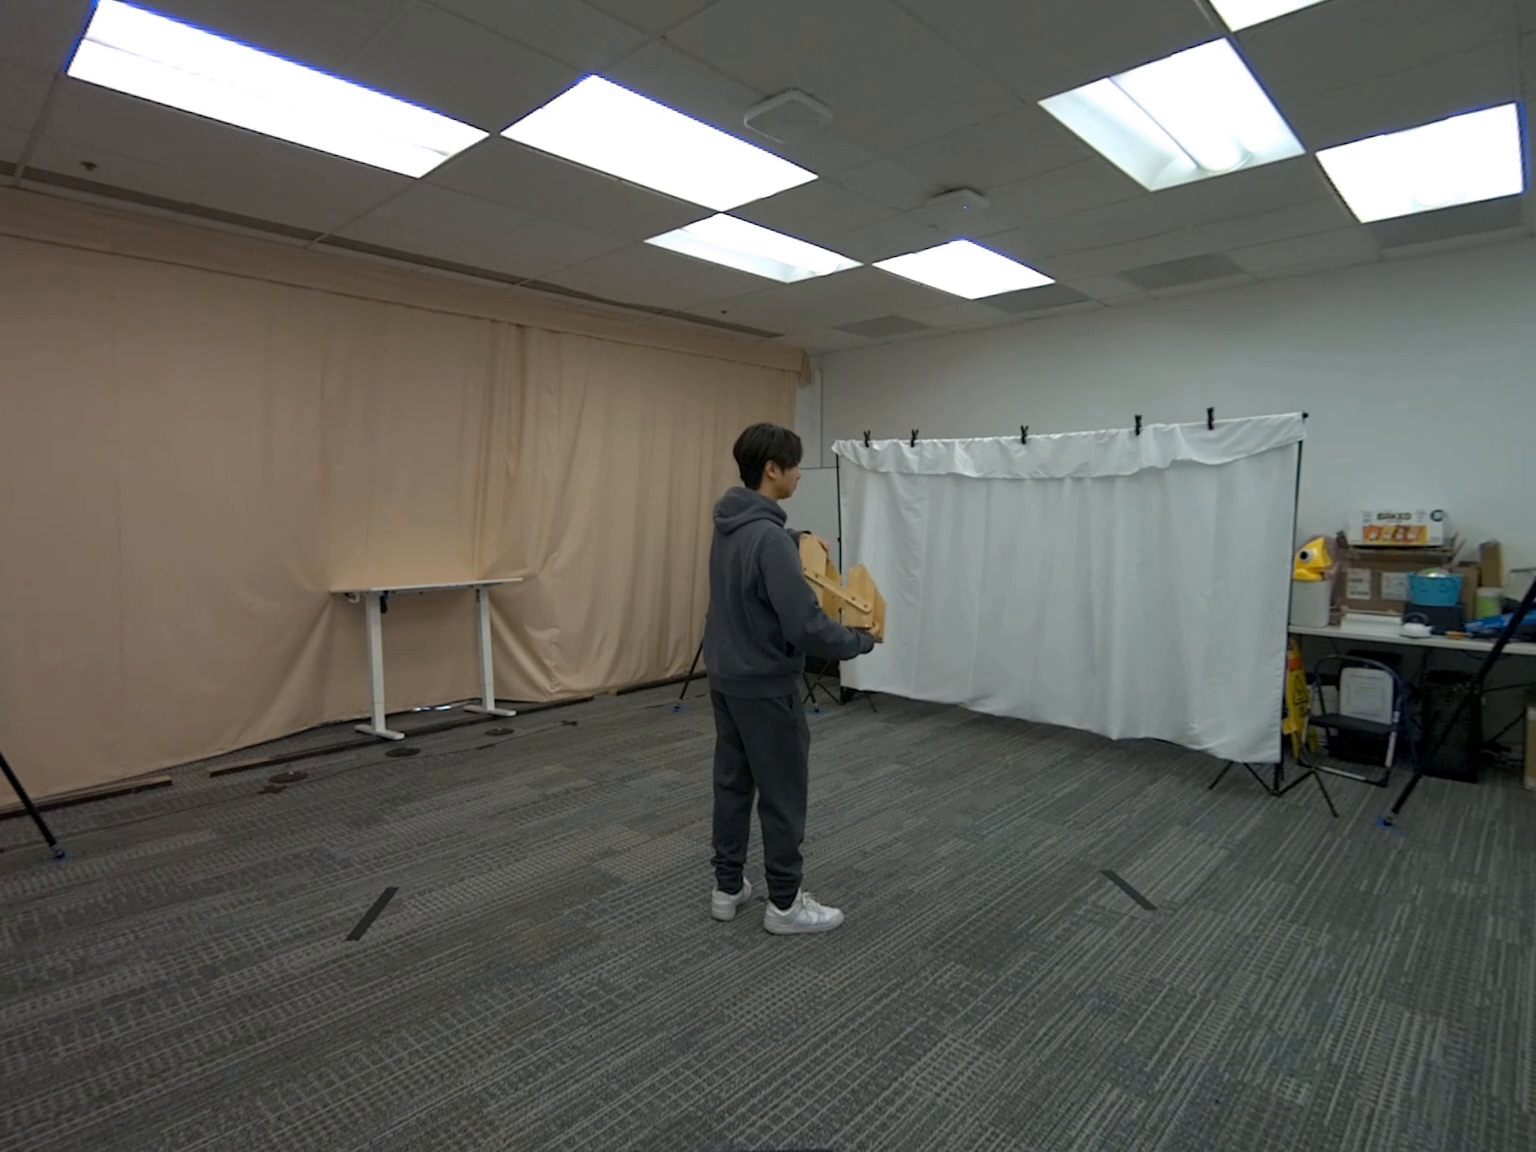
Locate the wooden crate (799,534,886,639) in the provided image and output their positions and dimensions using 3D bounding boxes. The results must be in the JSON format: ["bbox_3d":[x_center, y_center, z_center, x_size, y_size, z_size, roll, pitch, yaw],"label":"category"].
[{"bbox_3d":[0.272,0.053,2.890,0.279,0.304,0.316,2,-14,17],"label":"wooden crate"}]
